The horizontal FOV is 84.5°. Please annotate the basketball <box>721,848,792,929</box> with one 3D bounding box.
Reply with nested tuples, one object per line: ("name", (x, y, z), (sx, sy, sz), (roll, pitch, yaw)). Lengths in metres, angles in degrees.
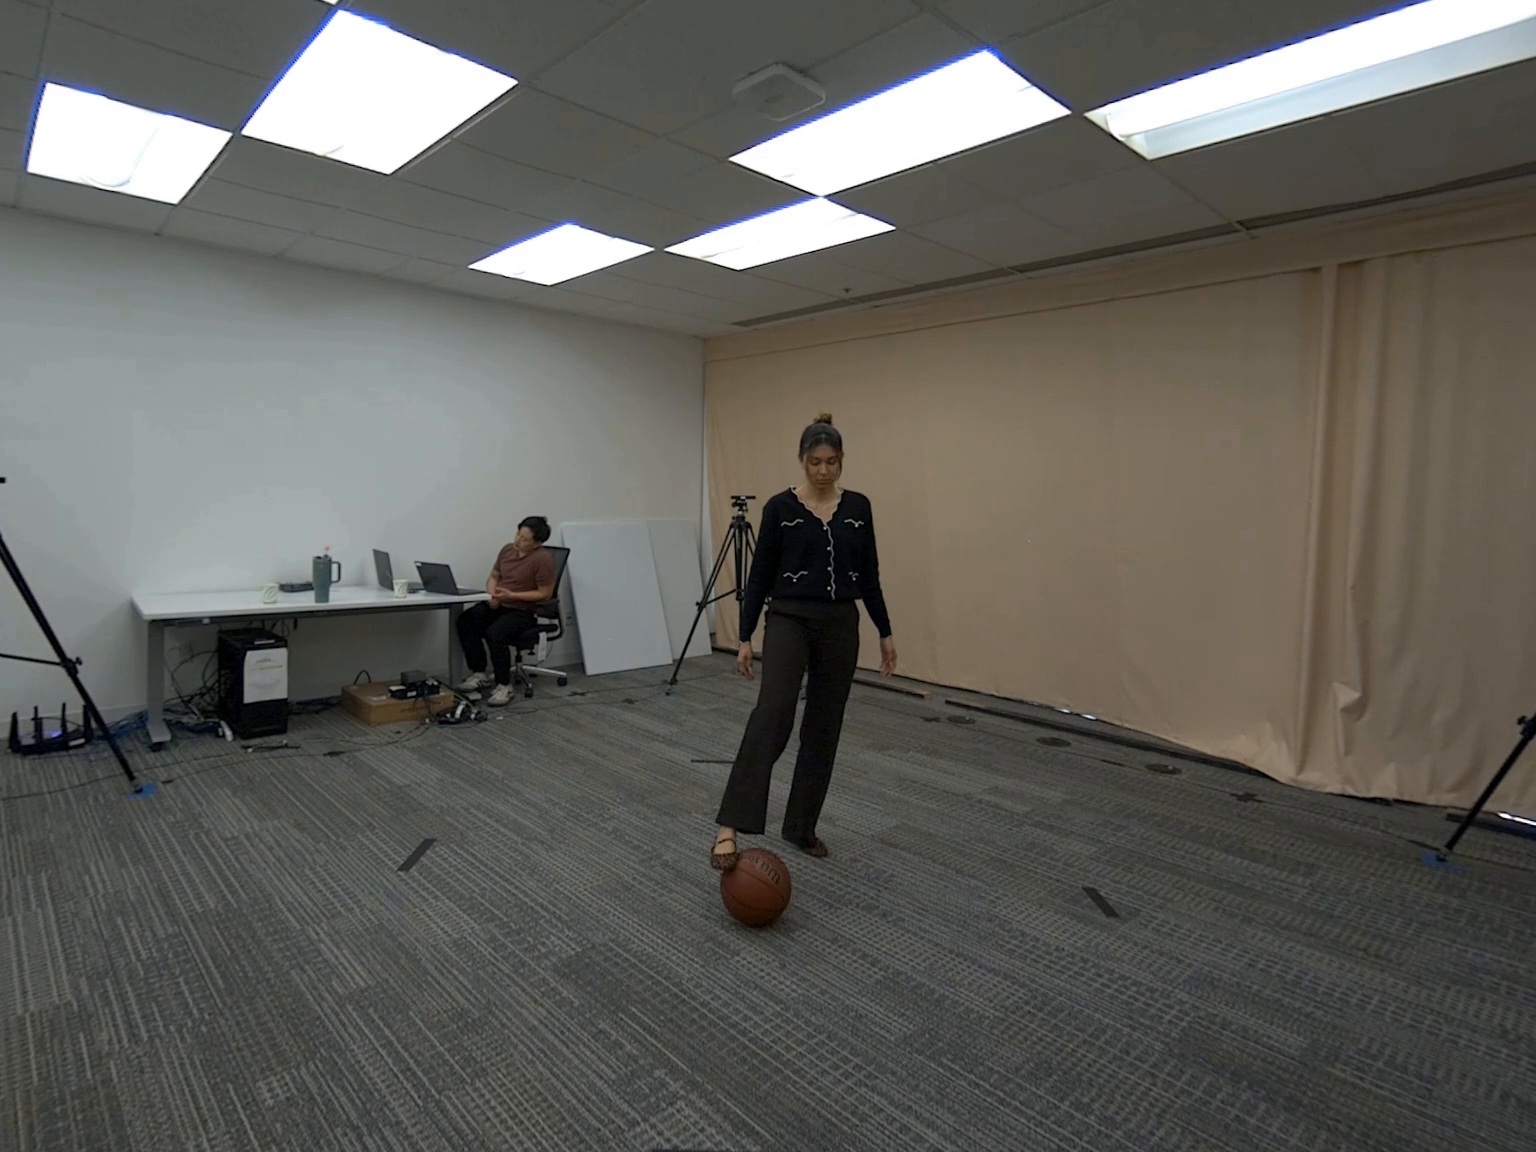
("basketball", (-0.031, 1.020, 2.769), (0.236, 0.235, 0.237), (1, 4, -1))
